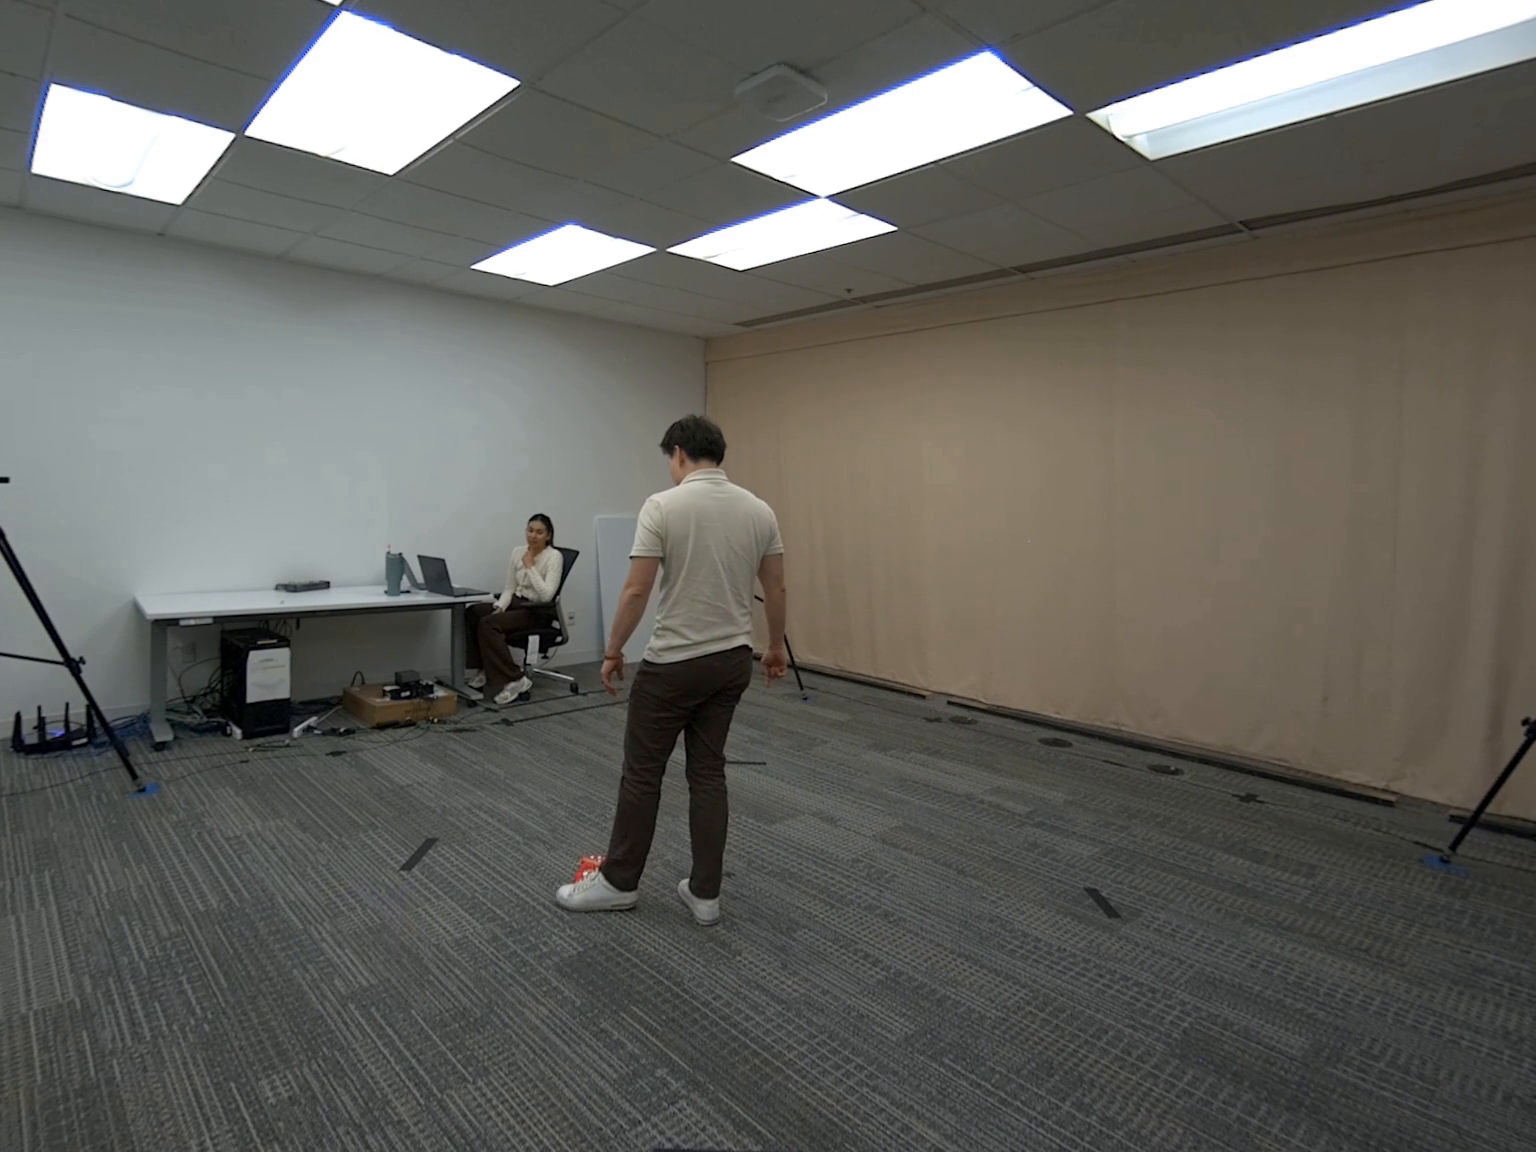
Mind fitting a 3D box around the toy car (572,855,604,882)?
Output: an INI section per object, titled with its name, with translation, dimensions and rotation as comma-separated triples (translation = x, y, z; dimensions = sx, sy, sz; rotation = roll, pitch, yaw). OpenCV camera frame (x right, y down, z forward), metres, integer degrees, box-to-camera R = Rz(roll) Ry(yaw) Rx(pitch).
[toy car]
translation = -0.634, 1.069, 3.021
dimensions = 0.130, 0.083, 0.254
rotation = 2, -5, -2
